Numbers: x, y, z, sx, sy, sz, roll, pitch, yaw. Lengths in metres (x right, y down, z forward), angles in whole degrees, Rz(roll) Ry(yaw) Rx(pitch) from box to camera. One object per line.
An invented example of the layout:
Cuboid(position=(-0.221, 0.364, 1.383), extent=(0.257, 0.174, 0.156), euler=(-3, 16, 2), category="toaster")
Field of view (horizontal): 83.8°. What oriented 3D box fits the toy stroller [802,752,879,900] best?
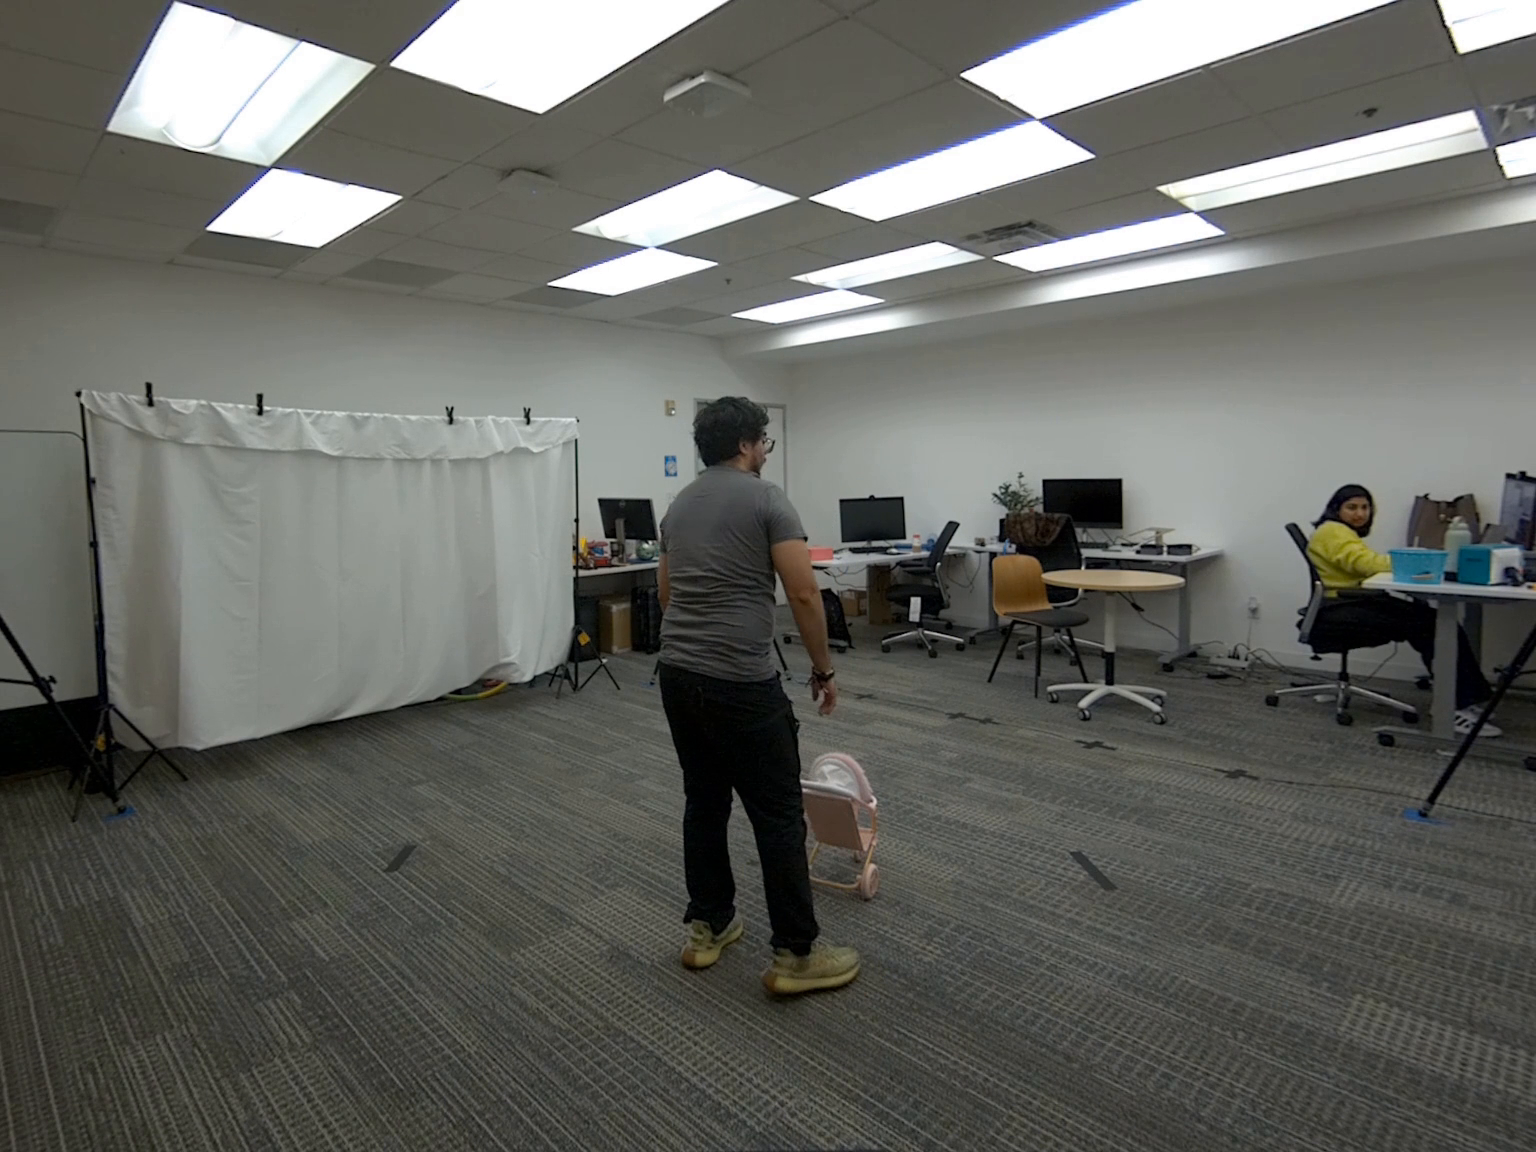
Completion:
Cuboid(position=(0.257, 0.839, 2.931), extent=(0.289, 0.525, 0.339), euler=(2, 22, 30), category="toy stroller")
